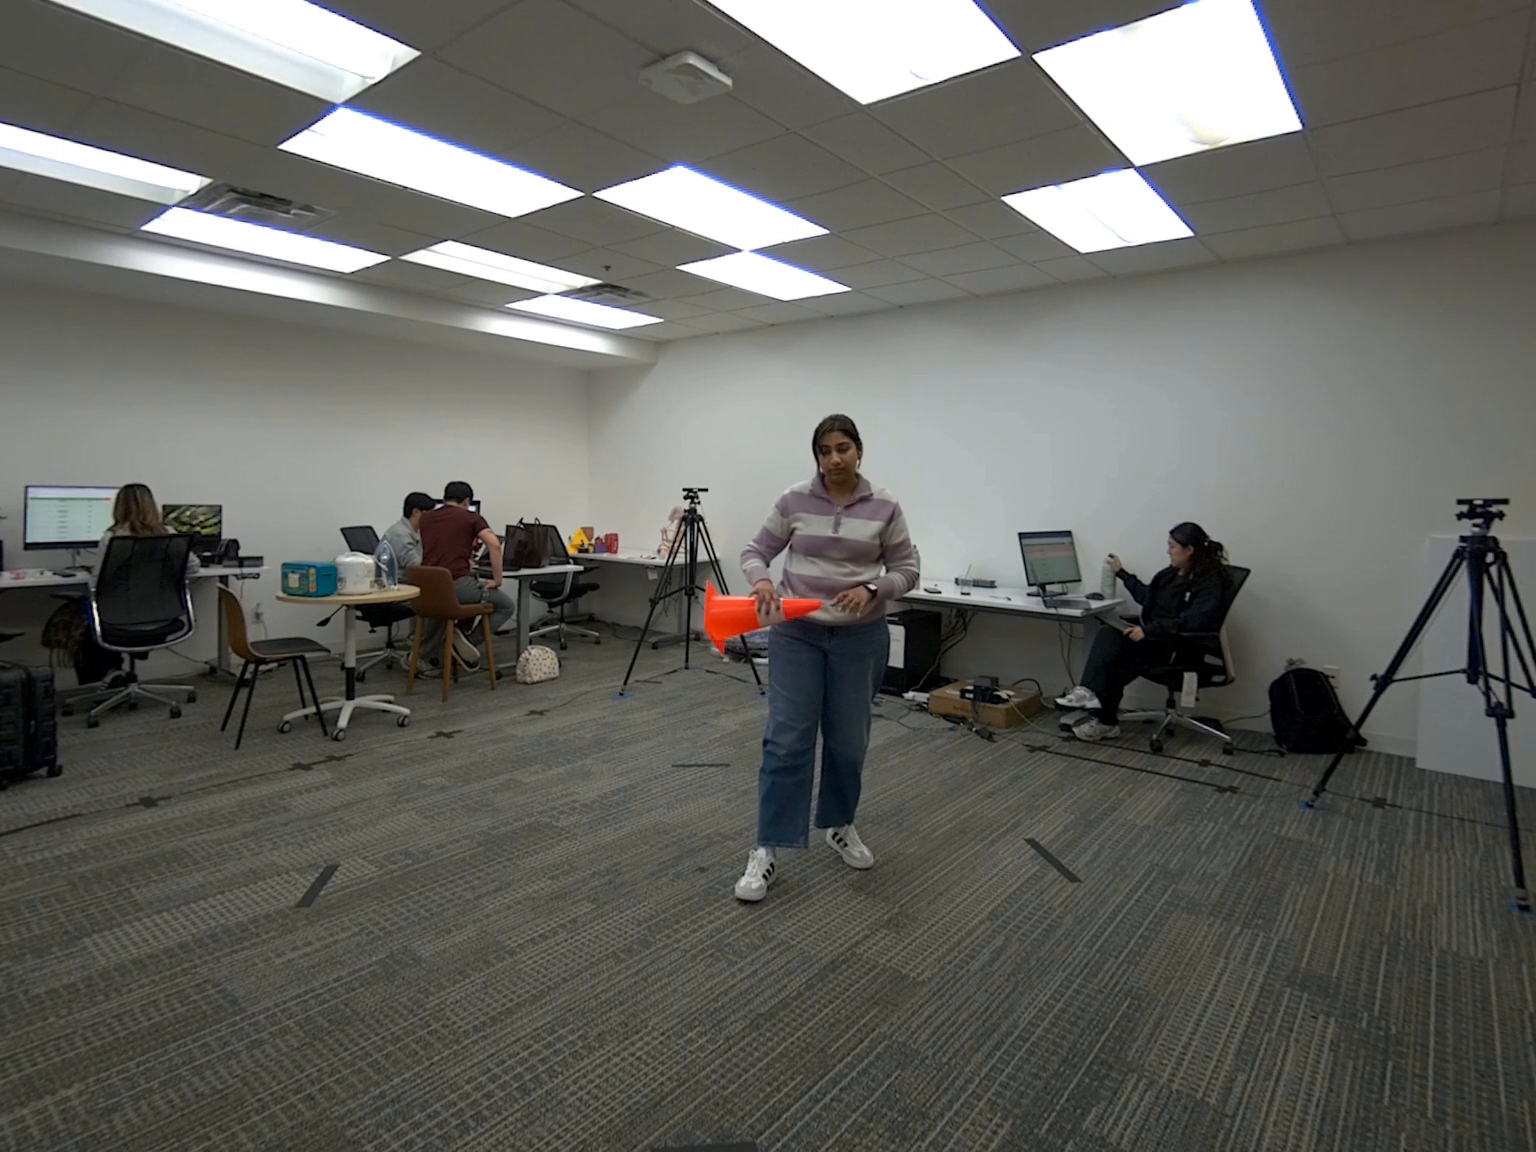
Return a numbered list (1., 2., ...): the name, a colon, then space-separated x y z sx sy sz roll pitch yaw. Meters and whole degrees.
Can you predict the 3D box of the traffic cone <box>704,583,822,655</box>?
1. traffic cone: -0.017 0.121 2.916 0.390 0.208 0.197 -7 -37 18
